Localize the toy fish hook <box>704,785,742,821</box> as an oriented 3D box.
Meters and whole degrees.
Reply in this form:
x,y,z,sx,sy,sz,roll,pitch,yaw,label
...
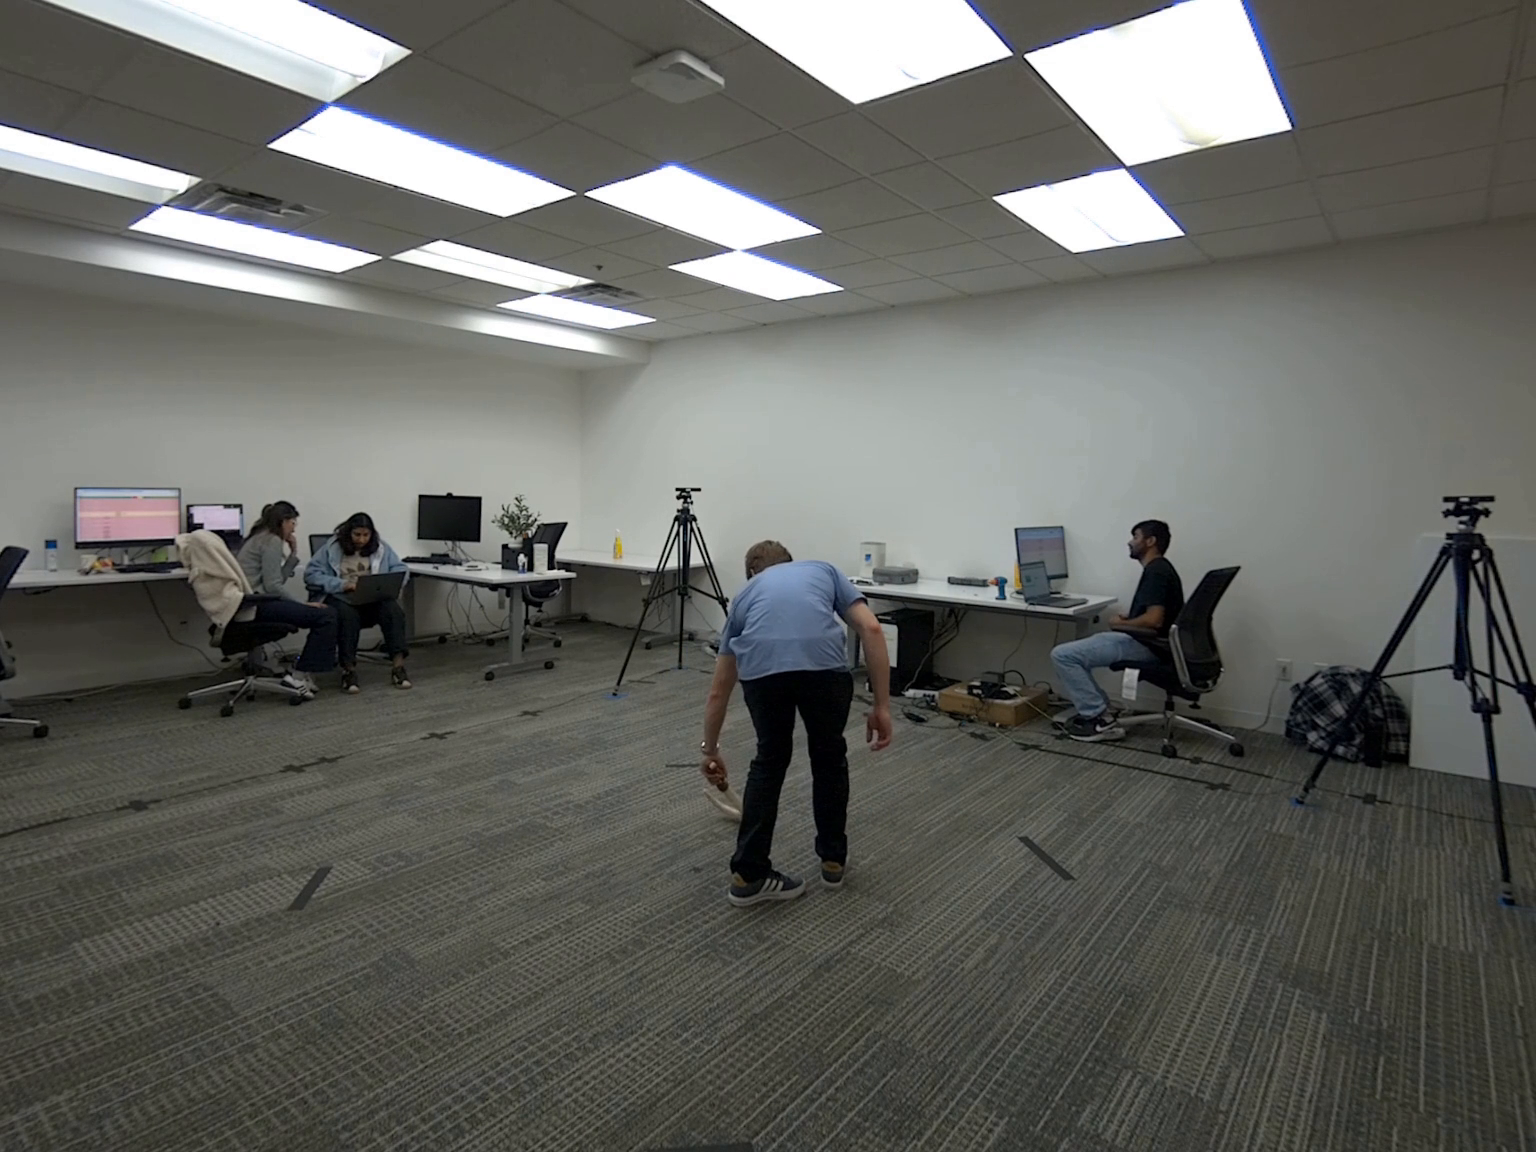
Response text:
x,y,z,sx,sy,sz,roll,pitch,yaw,label
-0.210,0.853,3.410,0.232,0.049,0.487,10,-37,29,toy fish hook
